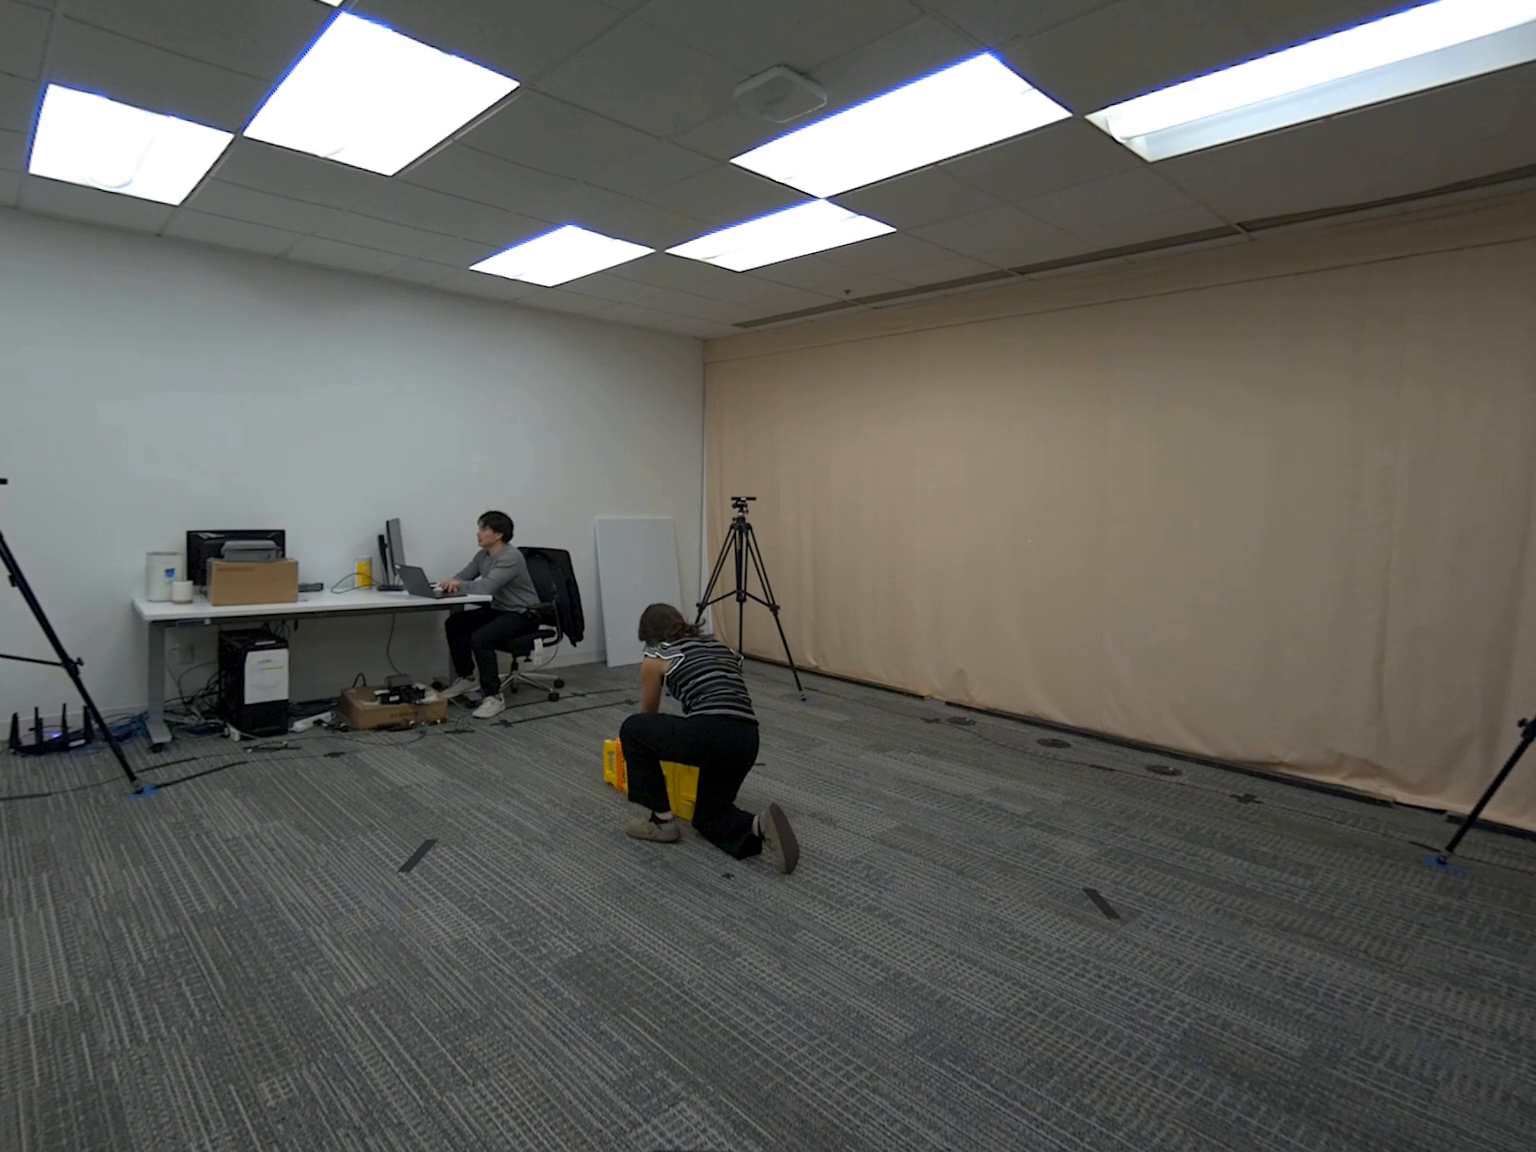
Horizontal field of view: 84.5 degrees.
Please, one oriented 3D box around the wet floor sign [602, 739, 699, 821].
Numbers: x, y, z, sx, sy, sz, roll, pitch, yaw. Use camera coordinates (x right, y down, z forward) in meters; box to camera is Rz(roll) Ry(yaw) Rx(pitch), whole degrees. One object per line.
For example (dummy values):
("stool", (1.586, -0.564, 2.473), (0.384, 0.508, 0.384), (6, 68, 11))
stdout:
("wet floor sign", (-0.539, 0.905, 3.905), (0.661, 0.281, 0.284), (3, 6, 37))
